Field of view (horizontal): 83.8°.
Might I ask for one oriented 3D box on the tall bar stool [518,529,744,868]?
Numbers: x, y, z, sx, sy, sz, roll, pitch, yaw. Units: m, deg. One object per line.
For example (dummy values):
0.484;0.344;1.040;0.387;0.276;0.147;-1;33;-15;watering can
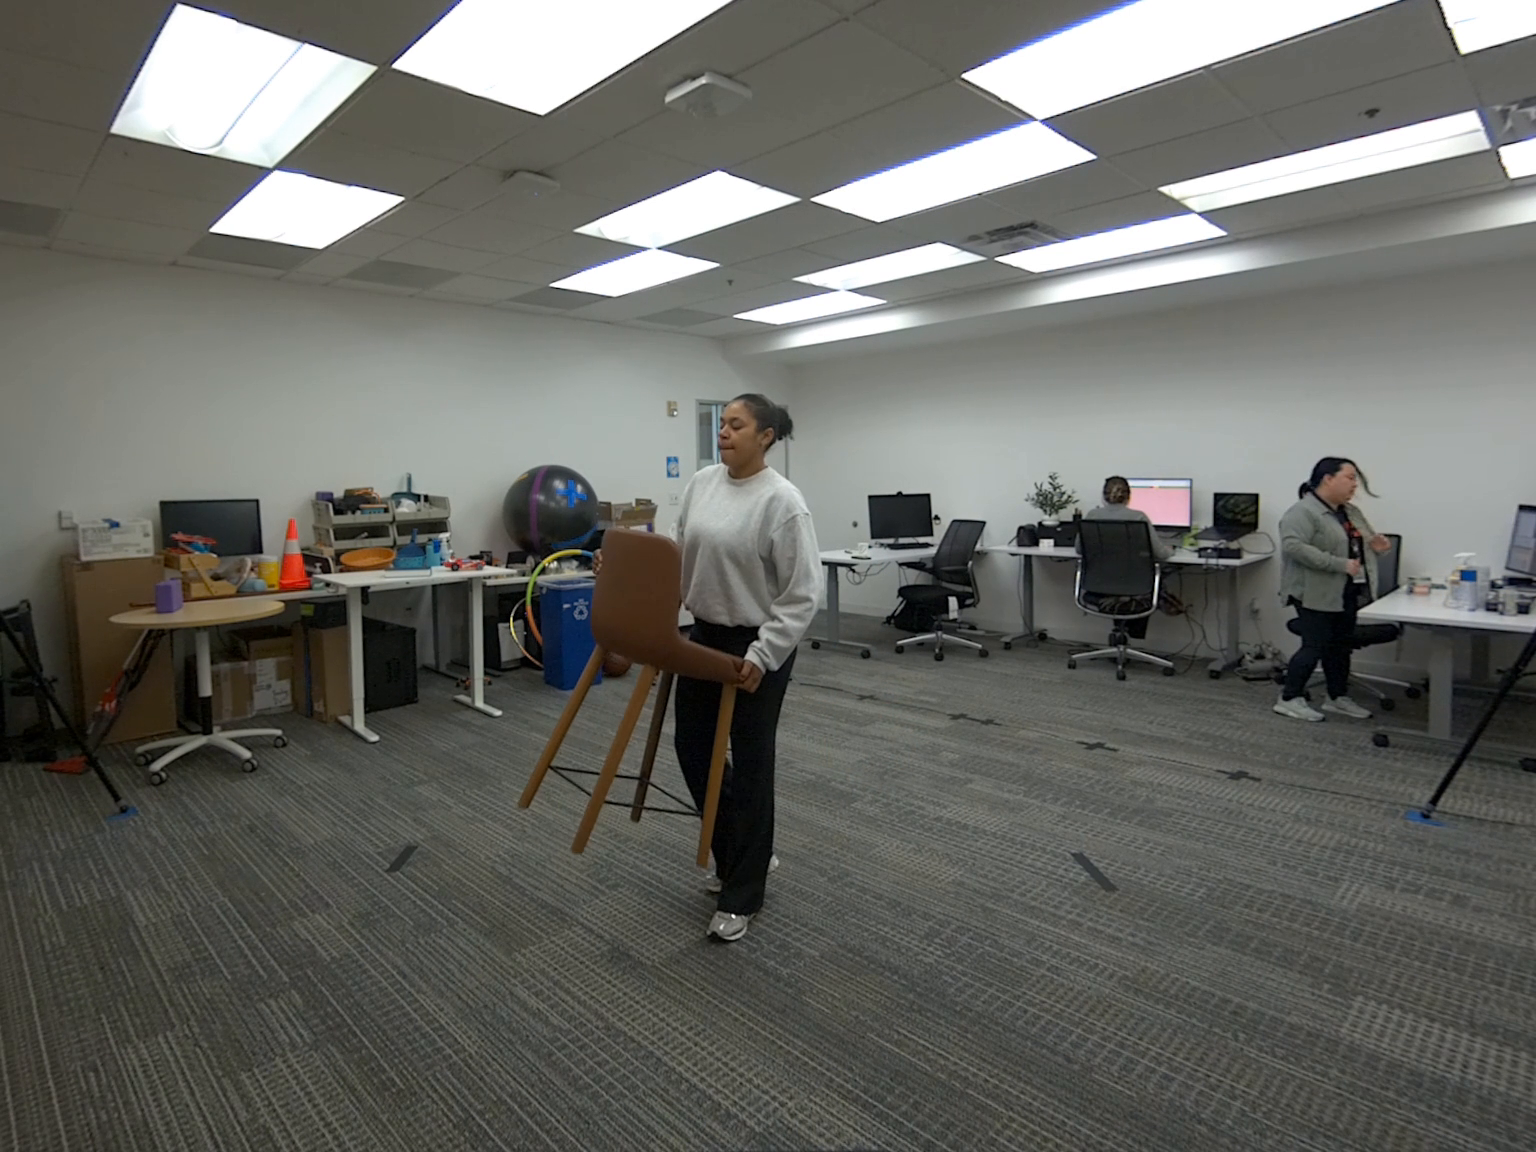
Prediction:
-0.350;0.350;2.563;0.451;0.893;0.471;19;-7;-38;tall bar stool
